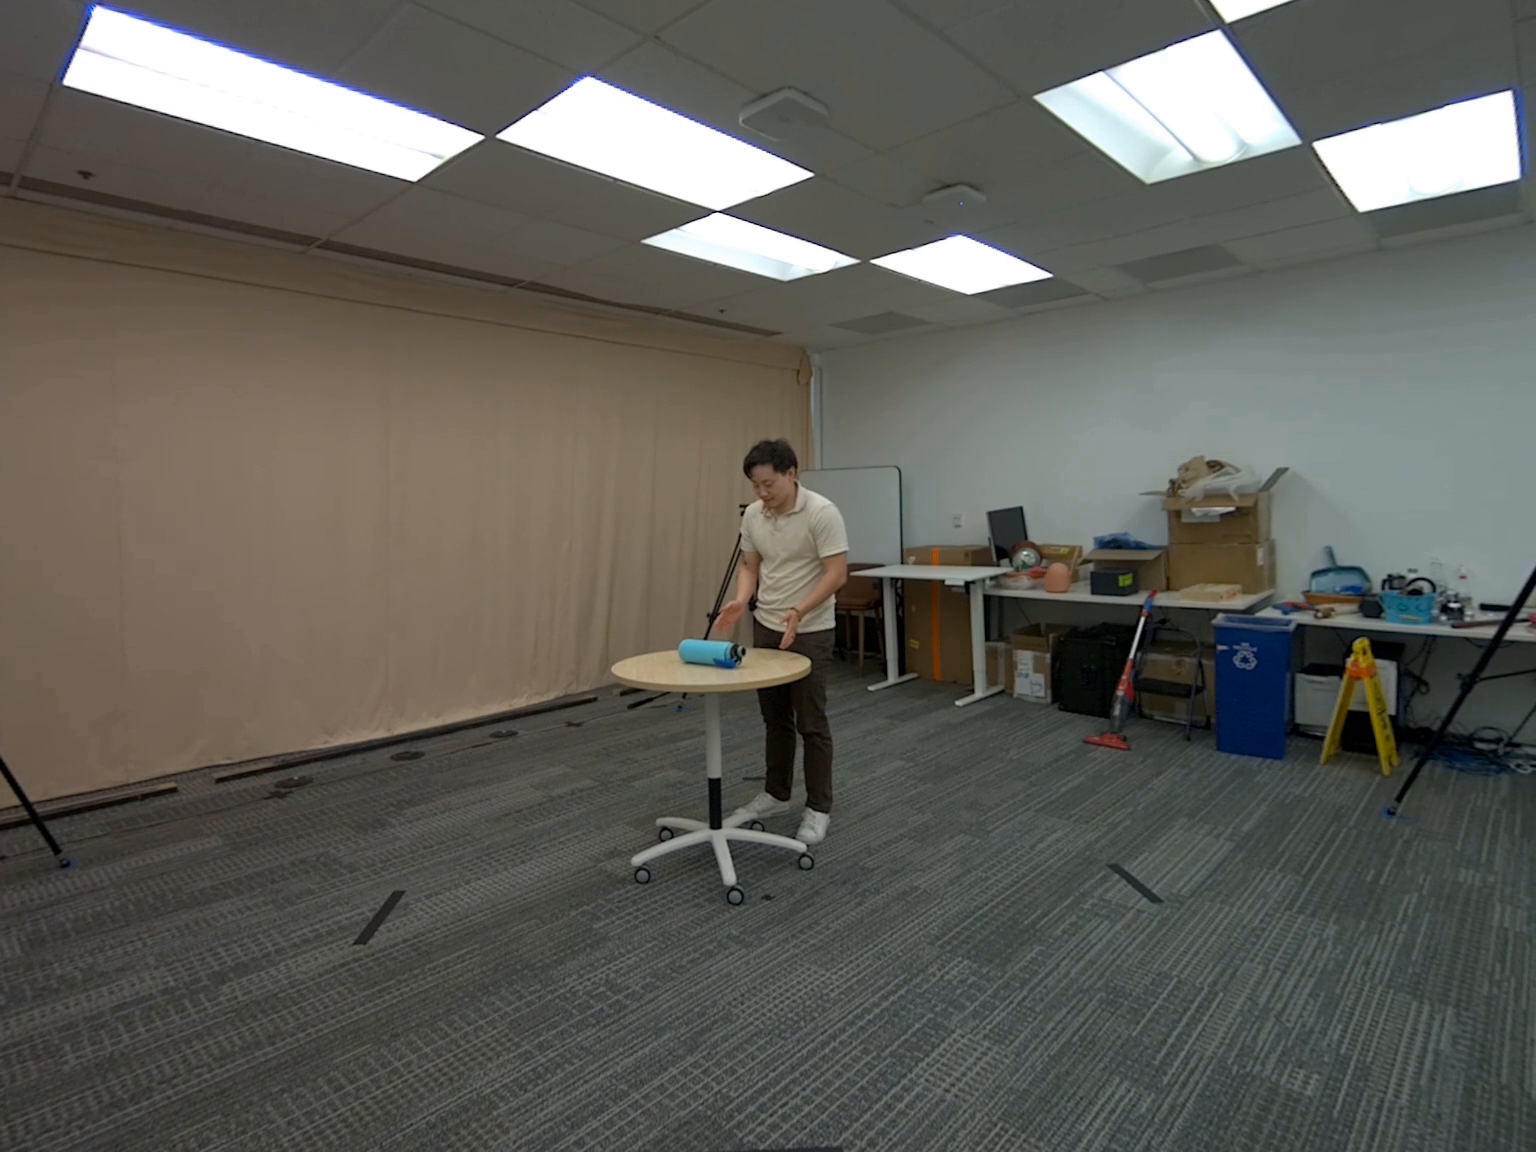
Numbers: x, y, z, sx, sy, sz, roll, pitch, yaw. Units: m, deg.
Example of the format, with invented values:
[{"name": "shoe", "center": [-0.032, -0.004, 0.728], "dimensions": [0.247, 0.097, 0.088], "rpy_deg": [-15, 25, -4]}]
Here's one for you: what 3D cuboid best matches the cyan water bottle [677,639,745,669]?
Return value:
[{"name": "cyan water bottle", "center": [-0.203, 0.293, 3.213], "dimensions": [0.292, 0.092, 0.089], "rpy_deg": [0, 4, 38]}]
